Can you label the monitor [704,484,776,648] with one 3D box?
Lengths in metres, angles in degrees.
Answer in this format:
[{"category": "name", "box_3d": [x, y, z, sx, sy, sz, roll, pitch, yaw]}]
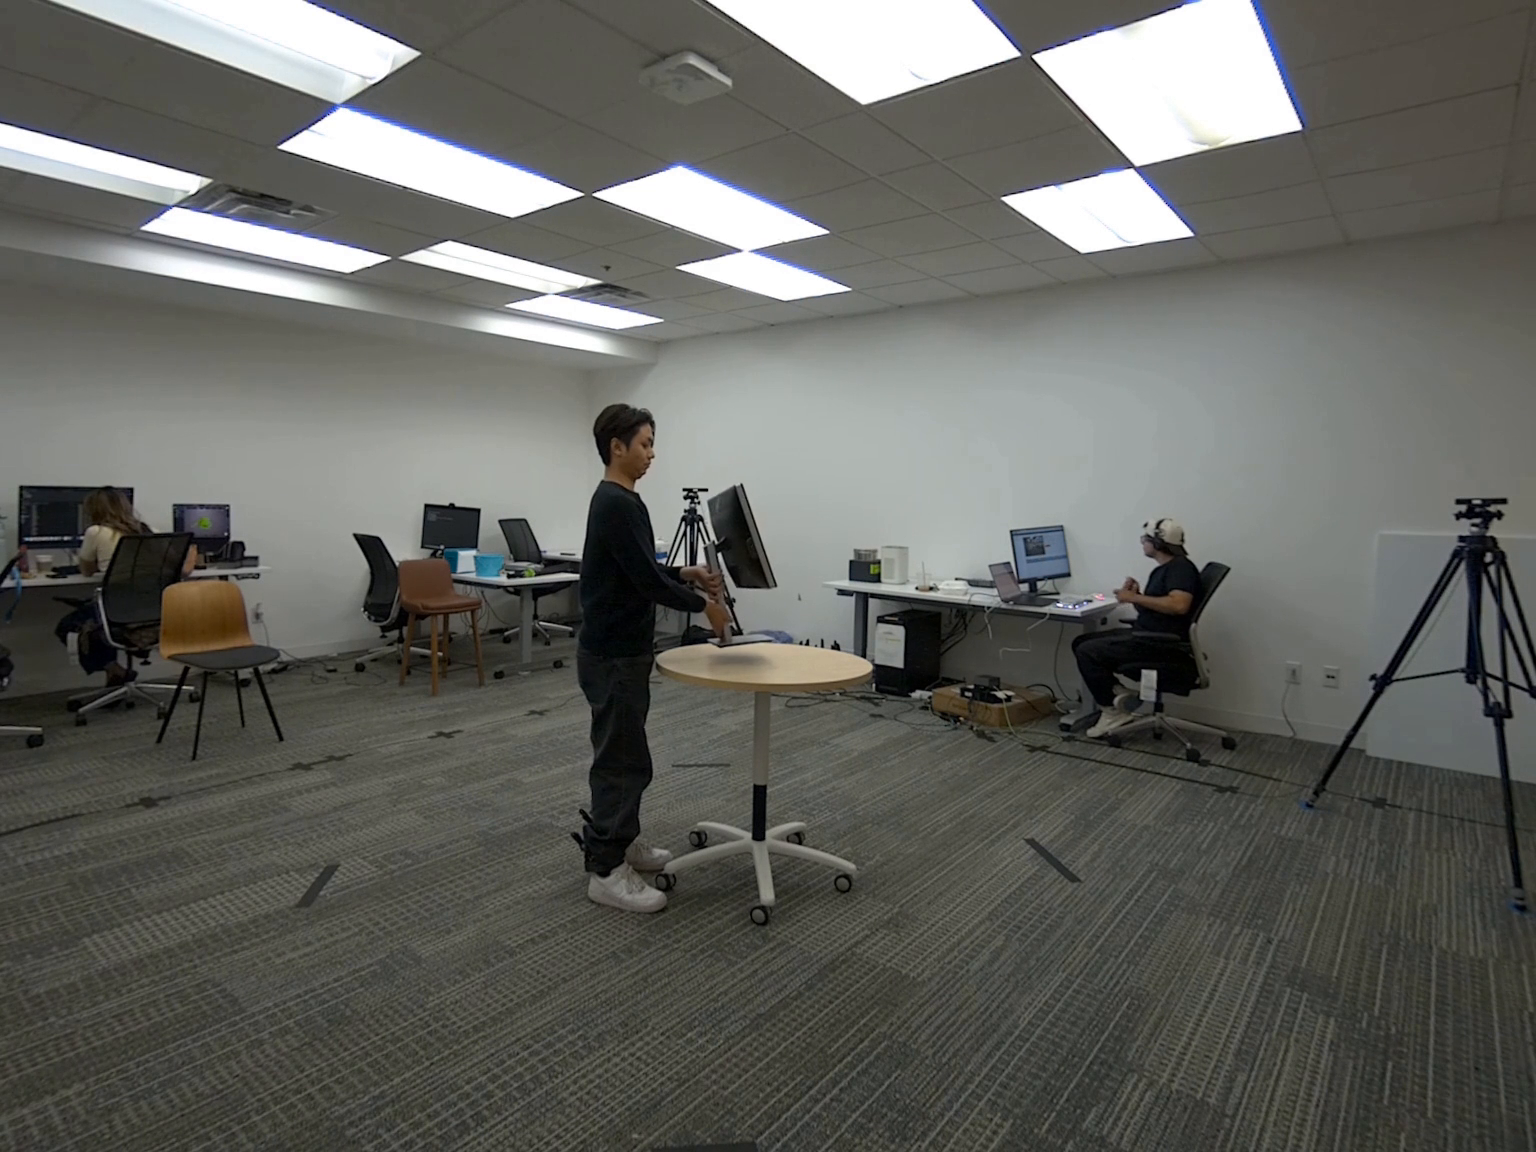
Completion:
[{"category": "monitor", "box_3d": [-0.140, -0.020, 3.036, 0.184, 0.523, 0.546, -6, 0, -16]}]
